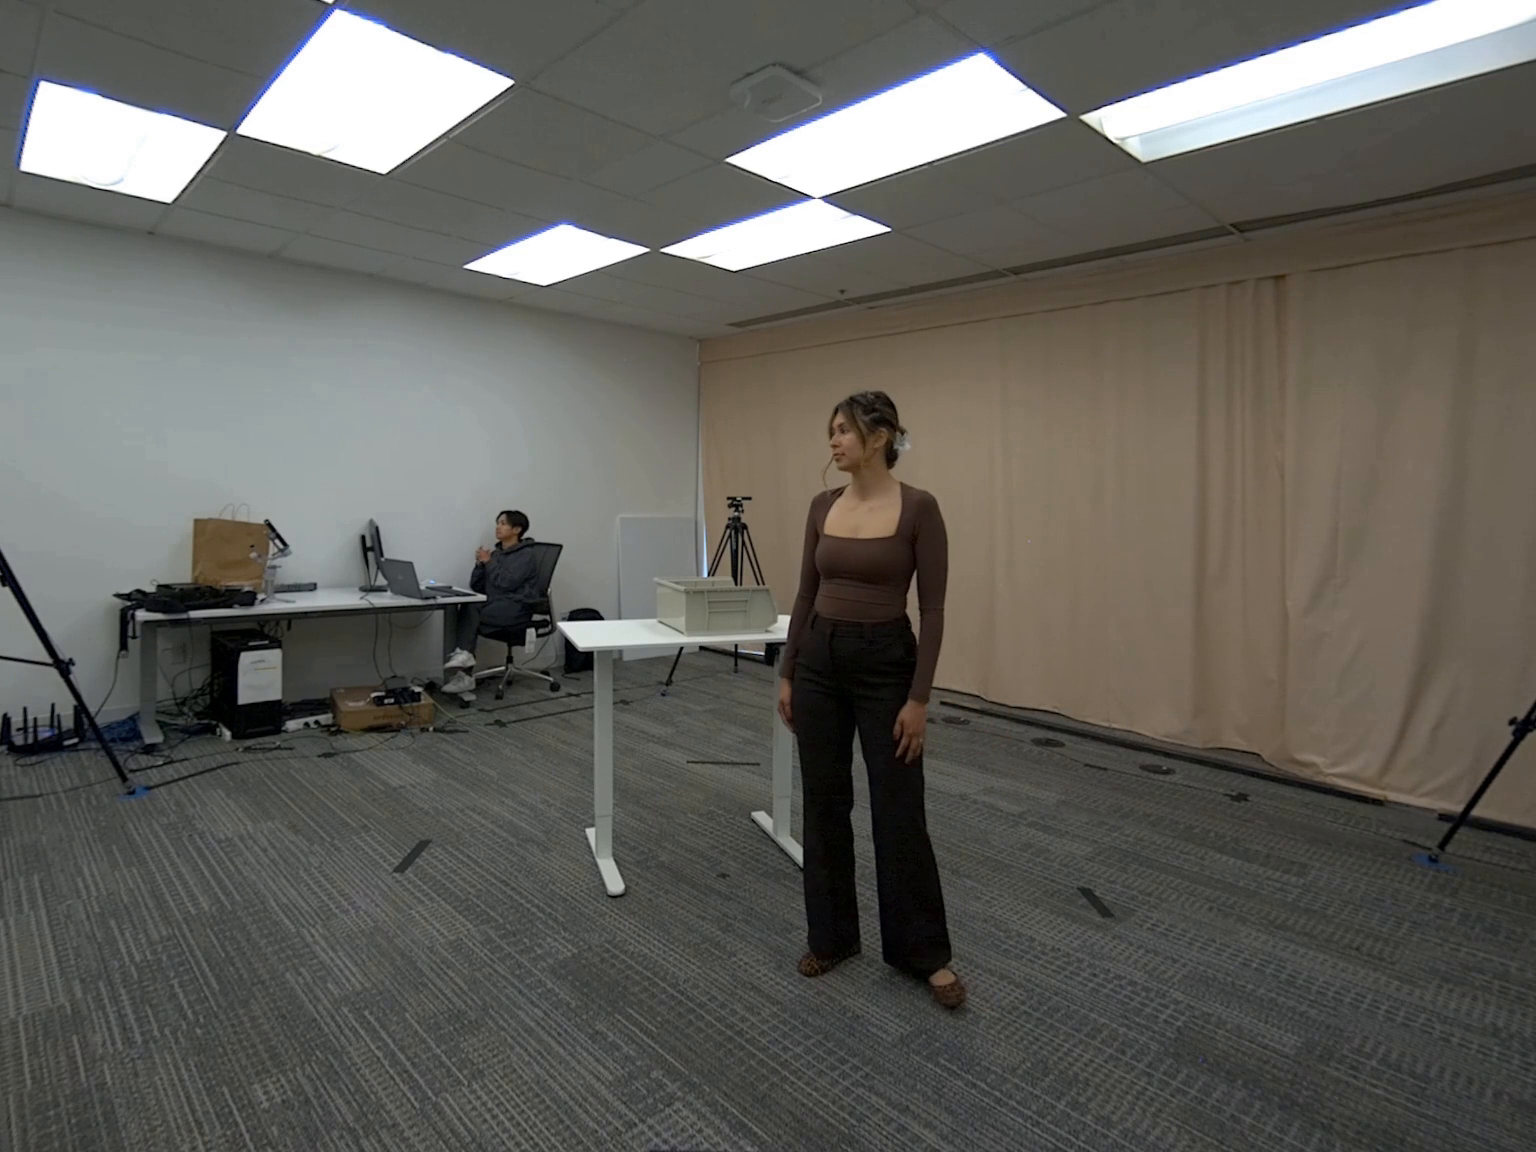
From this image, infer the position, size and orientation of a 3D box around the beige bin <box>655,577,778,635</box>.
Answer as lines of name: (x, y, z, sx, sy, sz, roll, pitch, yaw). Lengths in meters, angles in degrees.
beige bin: (-0.218, 0.114, 3.313, 0.371, 0.188, 0.430, -2, 6, -23)
